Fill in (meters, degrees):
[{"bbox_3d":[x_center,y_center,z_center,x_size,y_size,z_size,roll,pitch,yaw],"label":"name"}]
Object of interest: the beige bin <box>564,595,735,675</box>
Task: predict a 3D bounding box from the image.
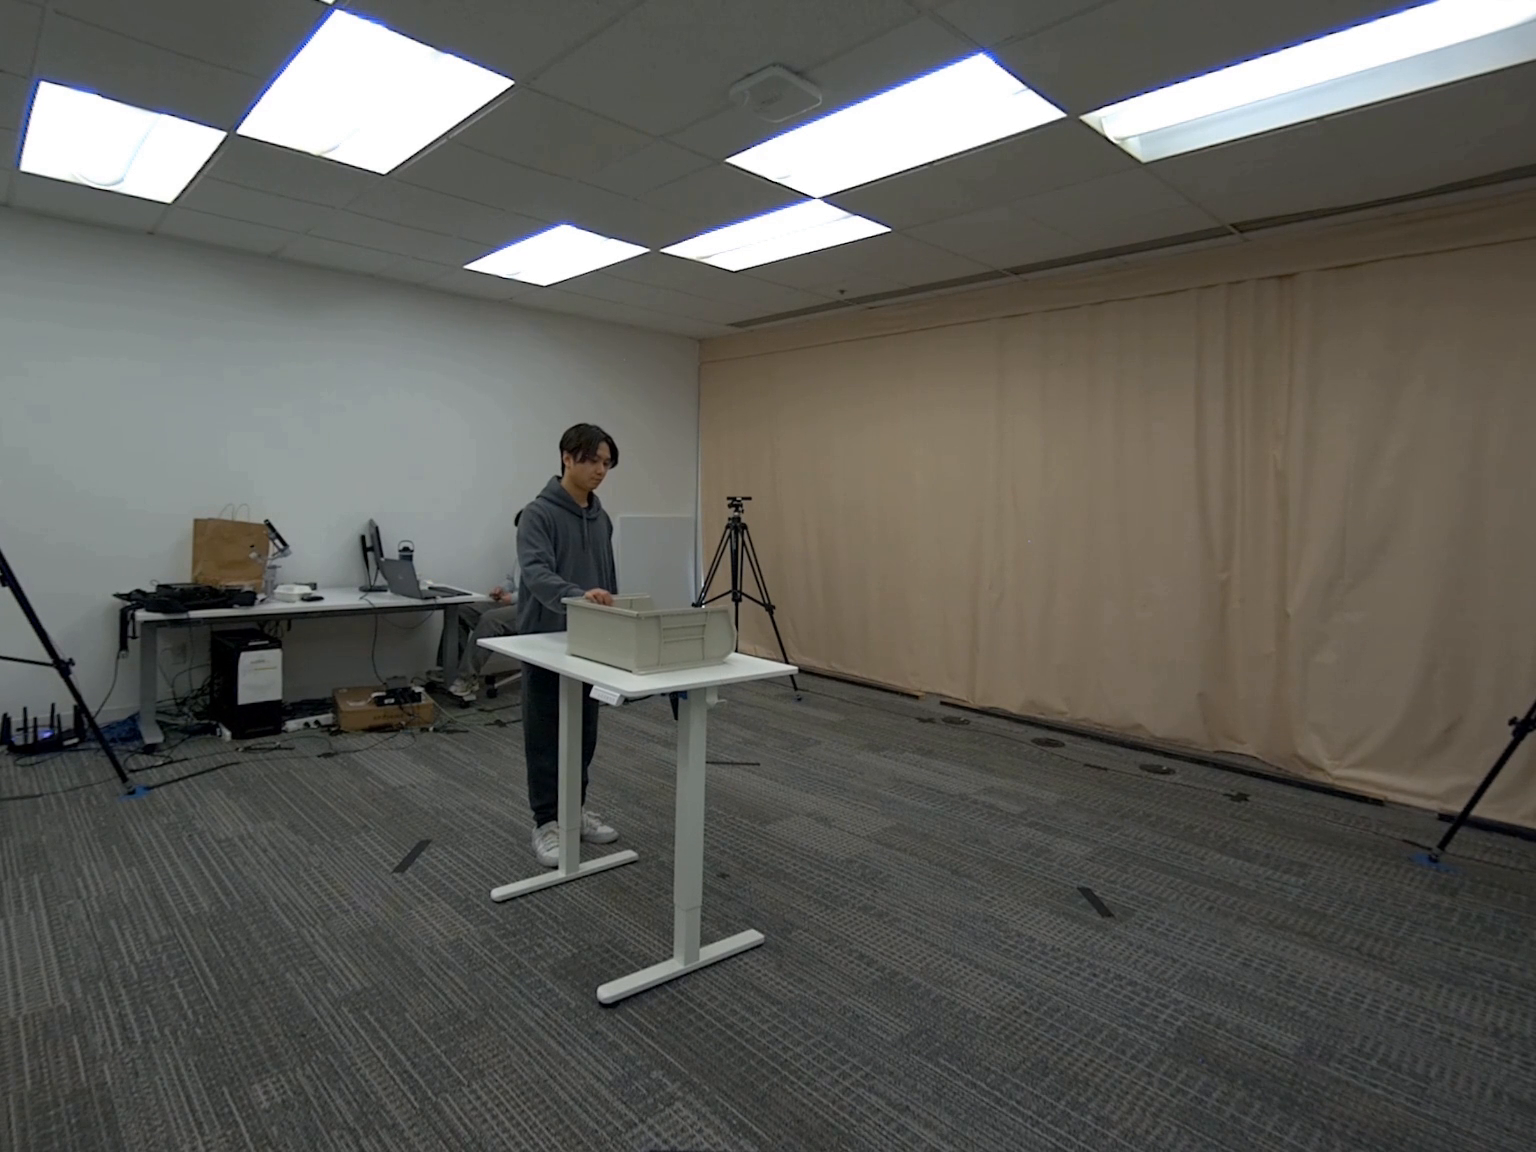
[{"bbox_3d":[-0.378,0.172,2.624,0.369,0.188,0.433,-3,7,-42],"label":"beige bin"}]
